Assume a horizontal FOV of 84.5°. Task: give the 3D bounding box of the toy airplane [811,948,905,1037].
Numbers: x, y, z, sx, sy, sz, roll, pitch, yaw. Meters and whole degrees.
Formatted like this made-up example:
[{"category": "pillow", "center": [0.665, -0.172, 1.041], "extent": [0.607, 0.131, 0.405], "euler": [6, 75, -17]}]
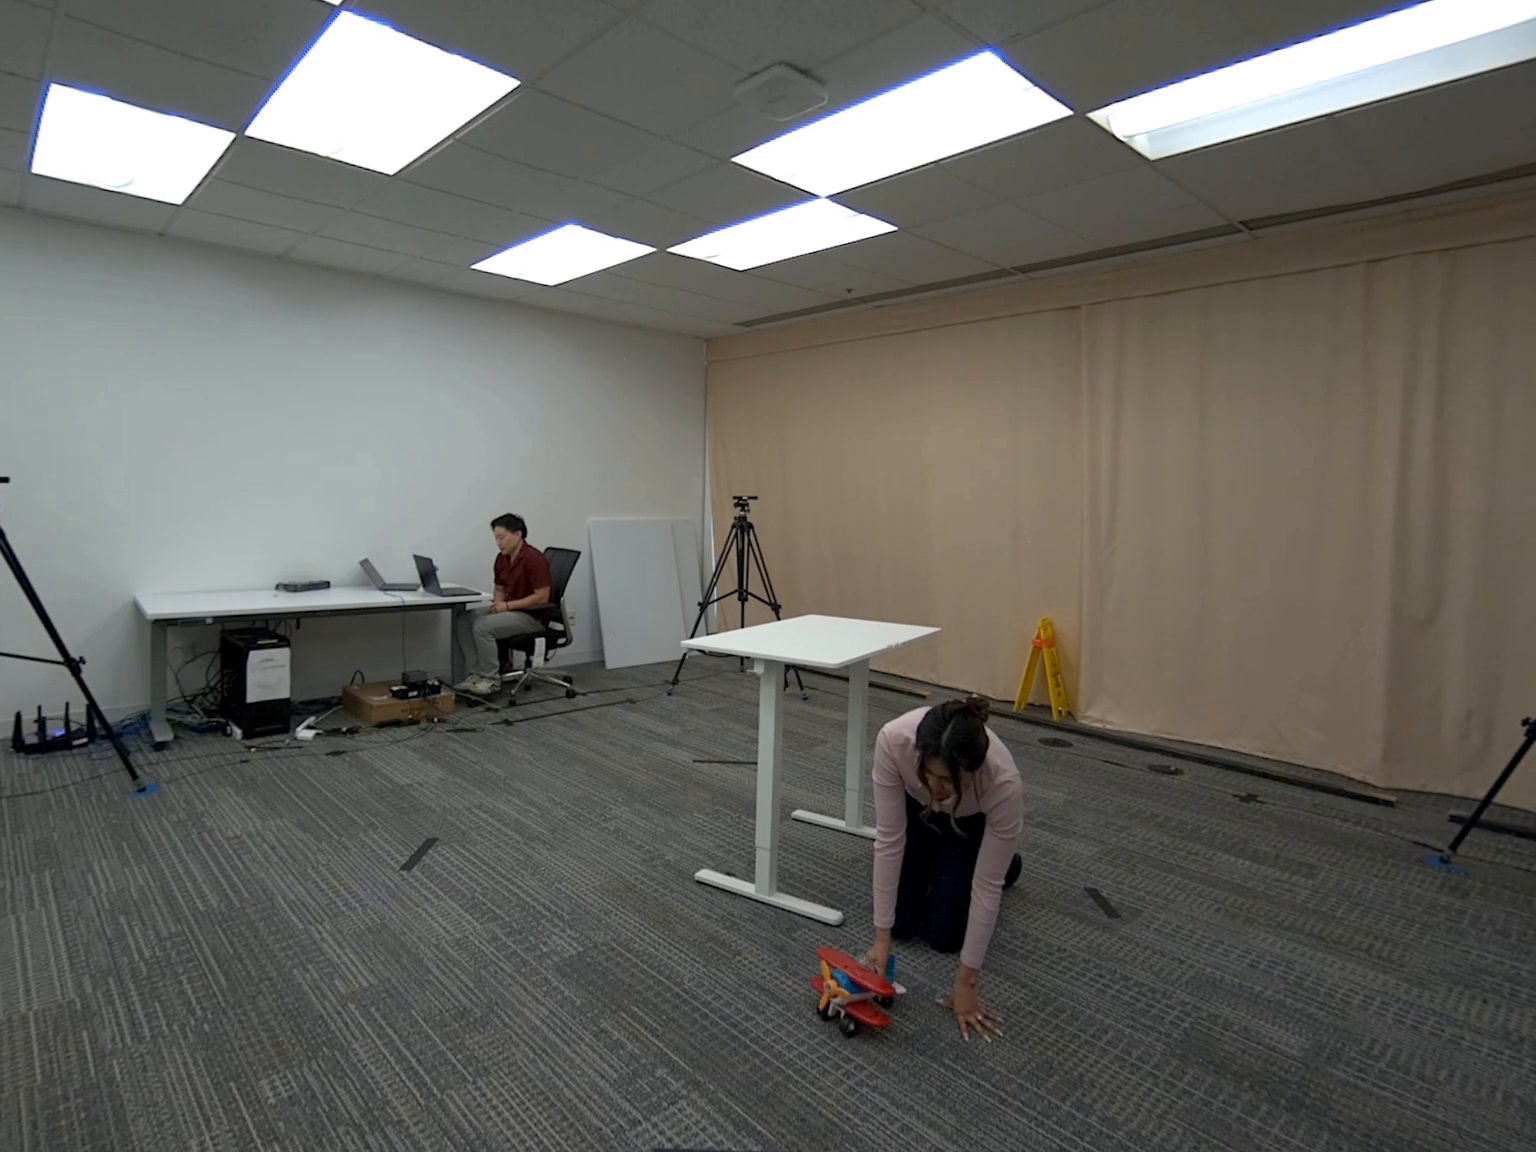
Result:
[{"category": "toy airplane", "center": [0.225, 1.113, 2.289], "extent": [0.255, 0.156, 0.255], "euler": [4, 6, 22]}]
